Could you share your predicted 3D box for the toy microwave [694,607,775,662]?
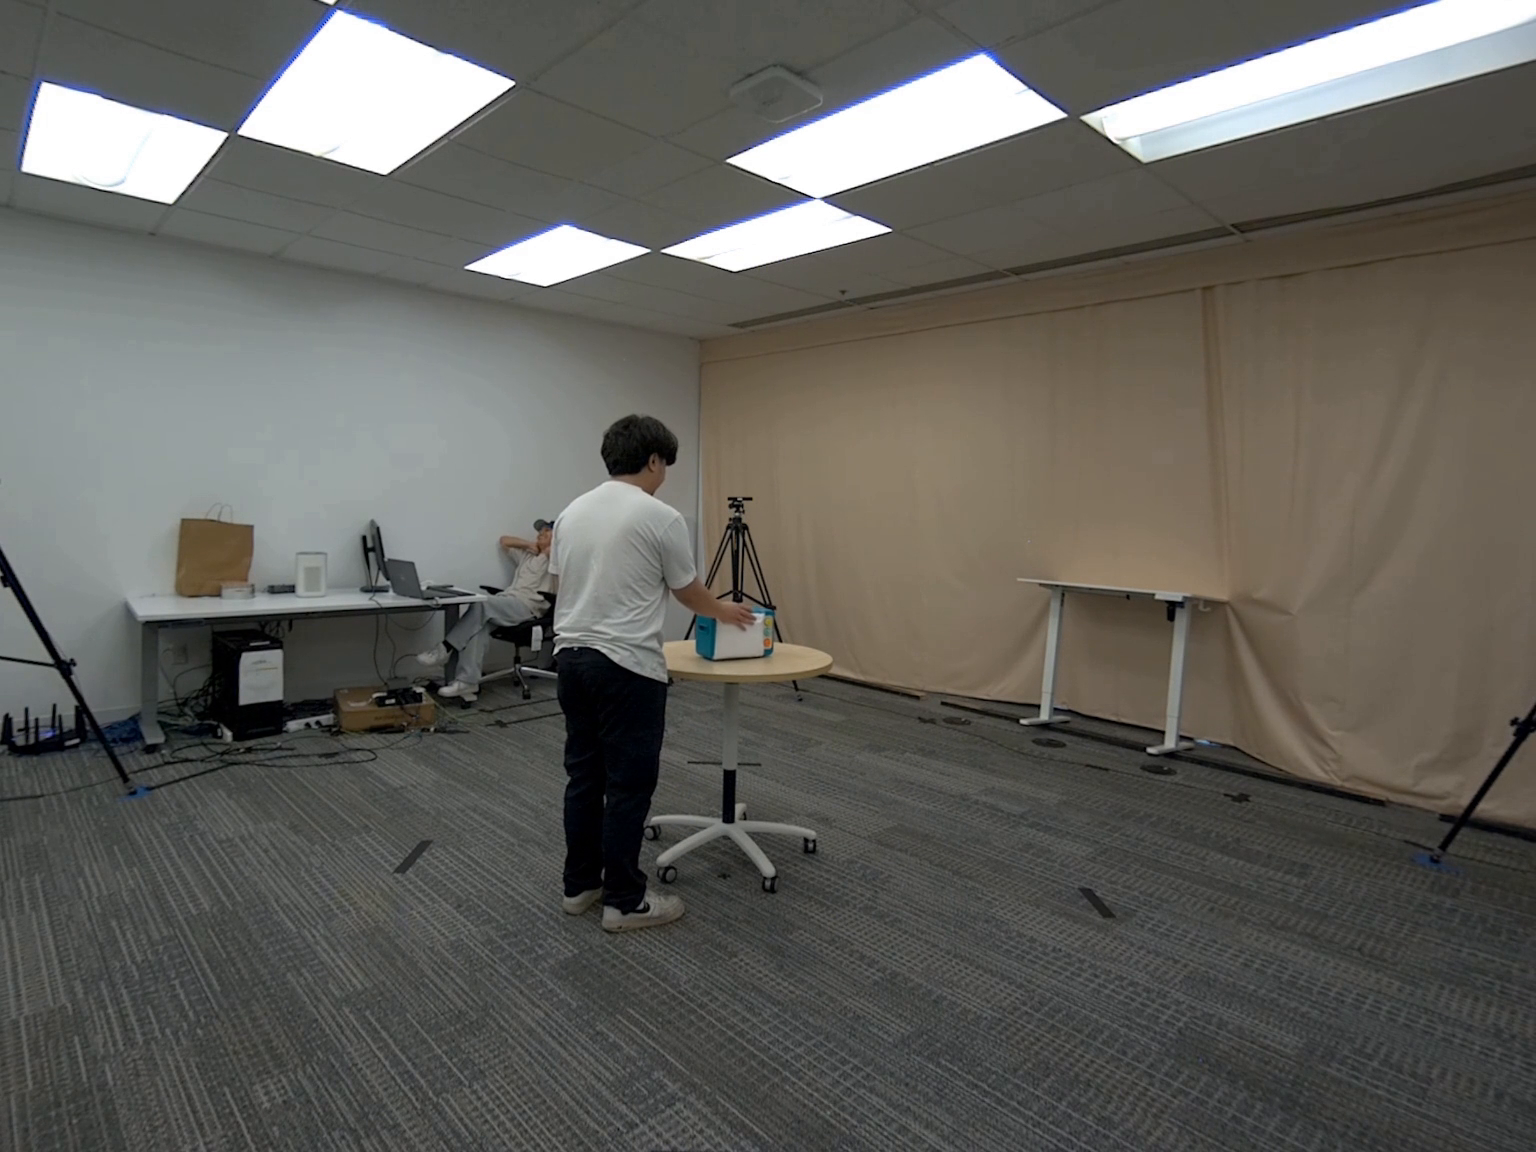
[{"bbox_3d":[-0.125,0.217,3.186,0.280,0.184,0.156,-1,4,-31],"label":"toy microwave"}]
